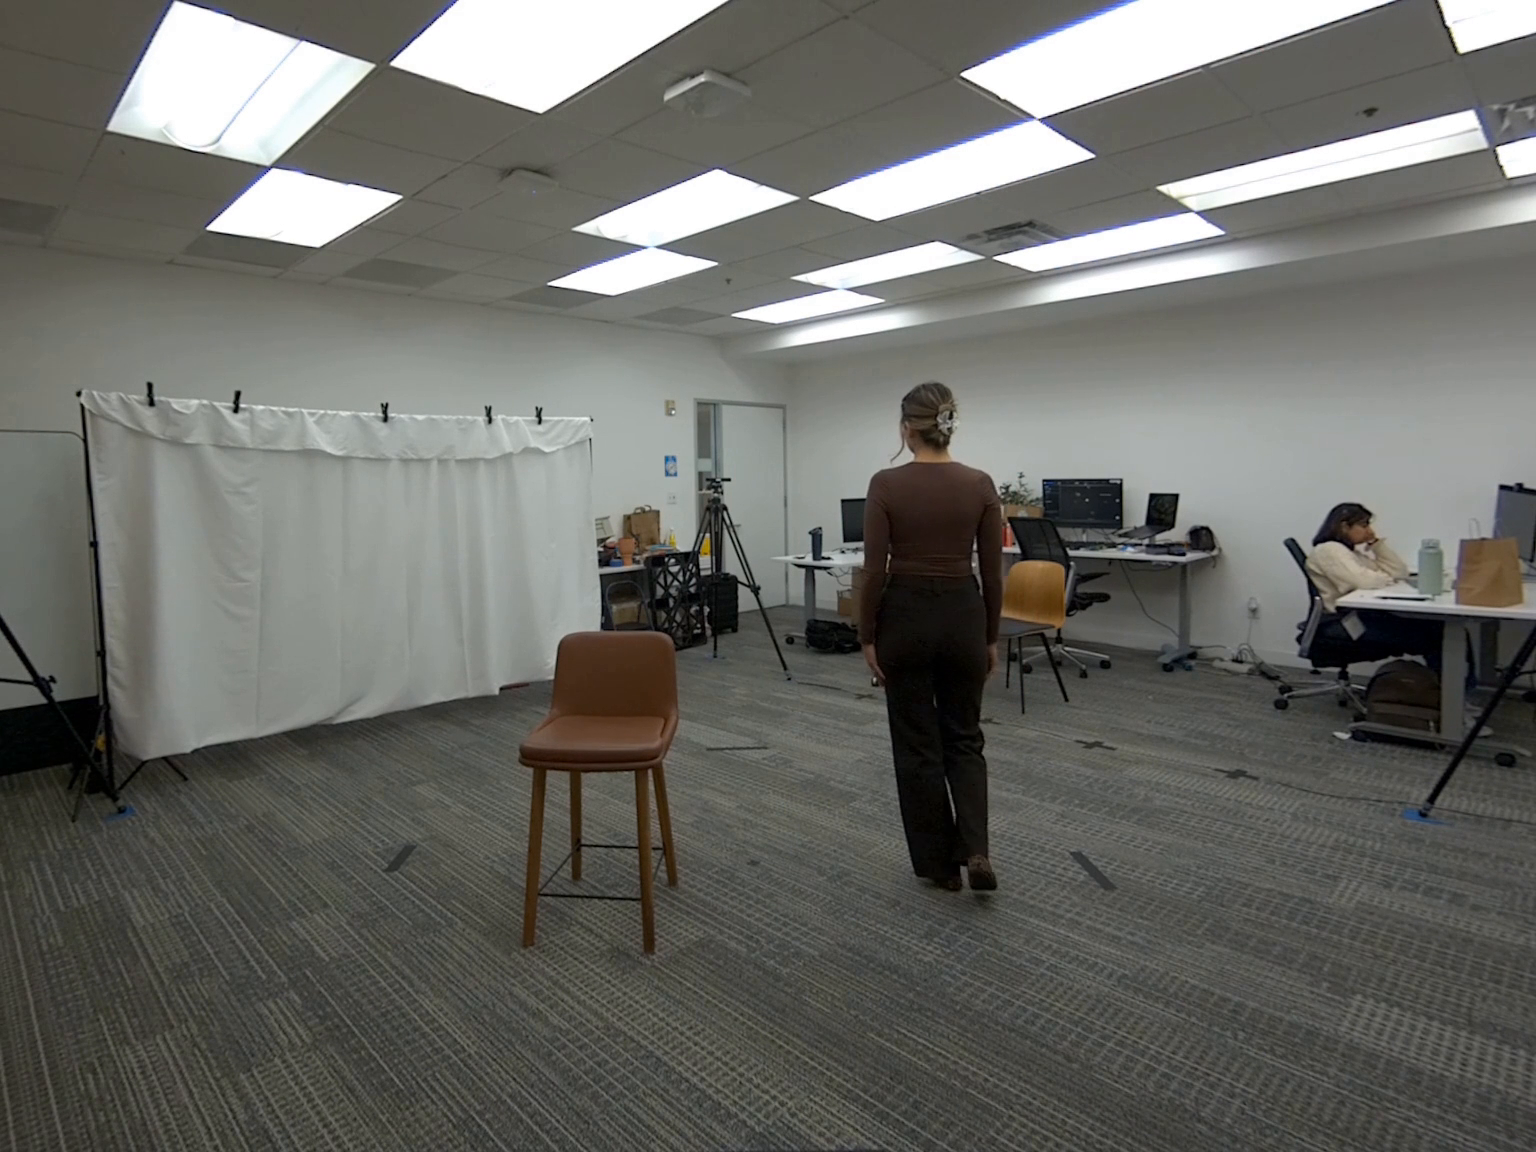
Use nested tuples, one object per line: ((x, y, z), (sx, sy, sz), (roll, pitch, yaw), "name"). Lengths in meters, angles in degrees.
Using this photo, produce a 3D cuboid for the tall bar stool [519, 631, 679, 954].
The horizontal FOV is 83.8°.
((-0.524, 0.659, 2.745), (0.460, 0.887, 0.465), (0, 3, 7), "tall bar stool")
